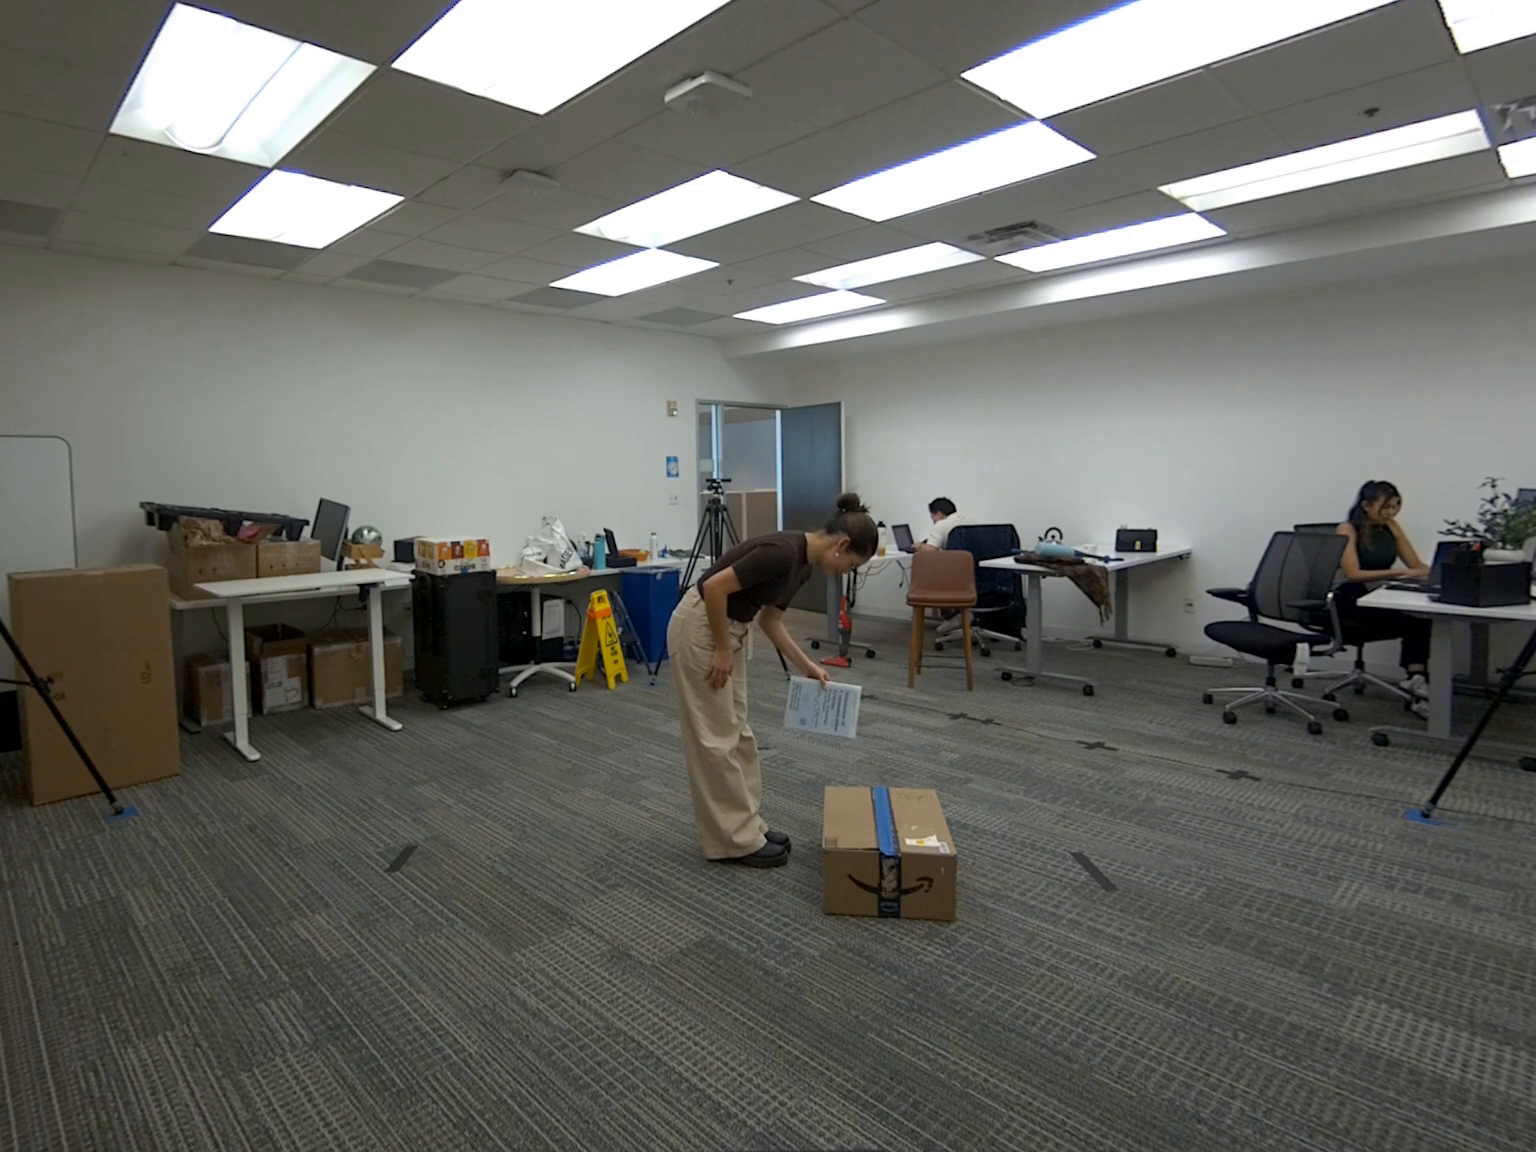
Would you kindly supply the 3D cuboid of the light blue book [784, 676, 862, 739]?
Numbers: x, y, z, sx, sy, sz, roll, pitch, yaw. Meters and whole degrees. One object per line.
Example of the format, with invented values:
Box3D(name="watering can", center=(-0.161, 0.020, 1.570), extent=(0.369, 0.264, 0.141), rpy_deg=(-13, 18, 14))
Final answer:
Box3D(name="light blue book", center=(0.195, 0.478, 3.137), extent=(0.264, 0.192, 0.058), rpy_deg=(7, -6, 10))
